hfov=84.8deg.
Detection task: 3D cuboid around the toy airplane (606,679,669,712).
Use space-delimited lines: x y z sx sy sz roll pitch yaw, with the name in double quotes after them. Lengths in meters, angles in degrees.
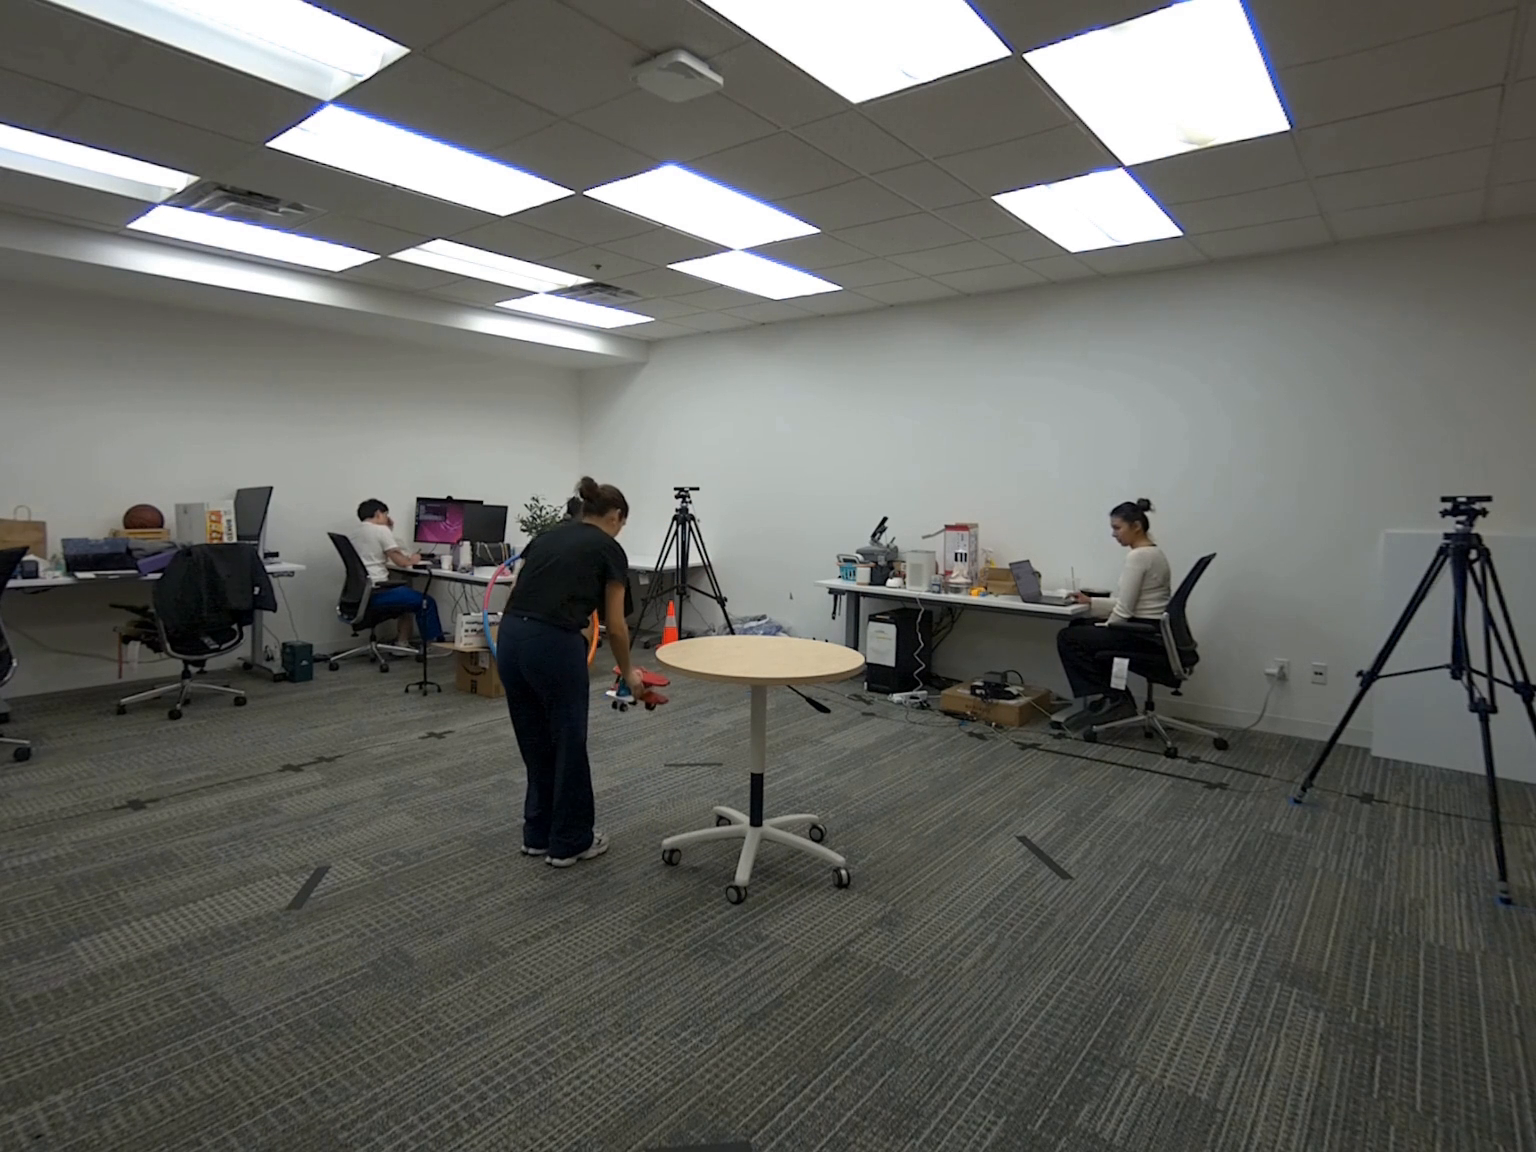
-0.495 0.462 3.445 0.250 0.157 0.260 13 -2 -4 "toy airplane"
